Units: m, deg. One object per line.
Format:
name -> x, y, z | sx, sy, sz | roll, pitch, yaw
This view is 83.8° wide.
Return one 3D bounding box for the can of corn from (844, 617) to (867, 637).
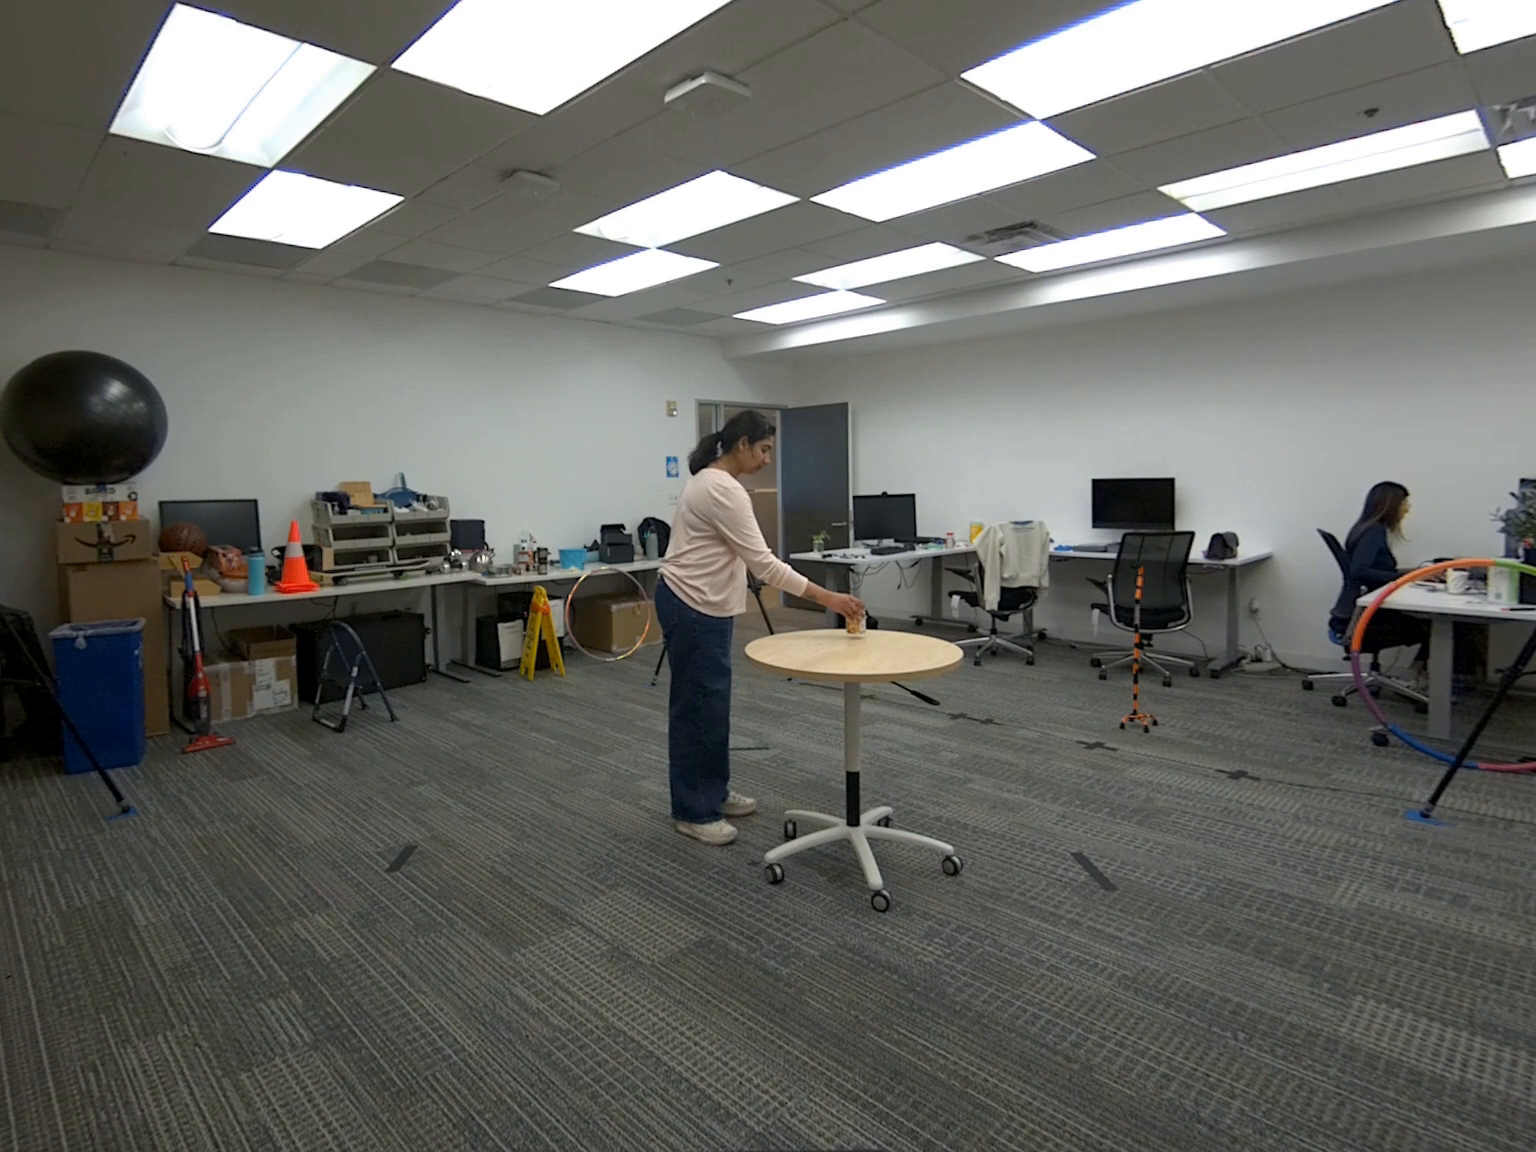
can of corn -> 0.329, 0.155, 3.234 | 0.074, 0.110, 0.074 | -5, 4, -1
